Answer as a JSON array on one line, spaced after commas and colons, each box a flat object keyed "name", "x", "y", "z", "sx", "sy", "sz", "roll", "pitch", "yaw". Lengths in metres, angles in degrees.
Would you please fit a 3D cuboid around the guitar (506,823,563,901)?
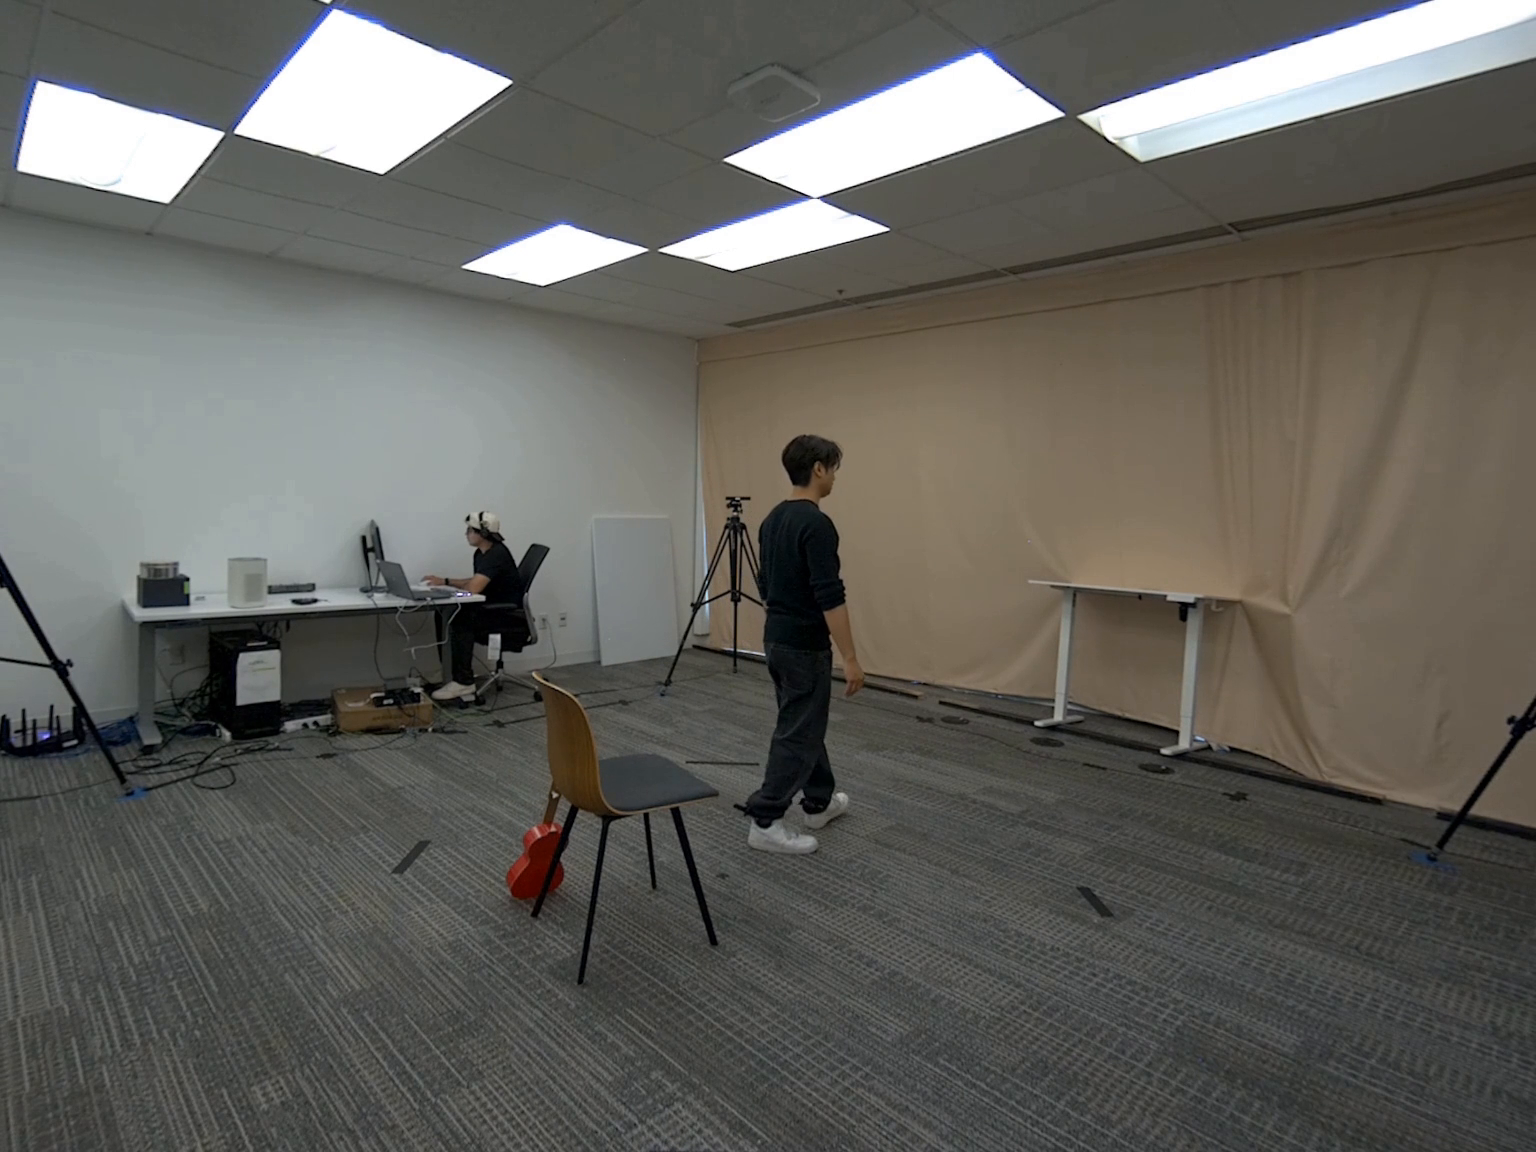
[{"name": "guitar", "x": -0.779, "y": 0.872, "z": 2.847, "sx": 0.189, "sy": 0.492, "sz": 0.073, "roll": -3, "pitch": 25, "yaw": -34}]
